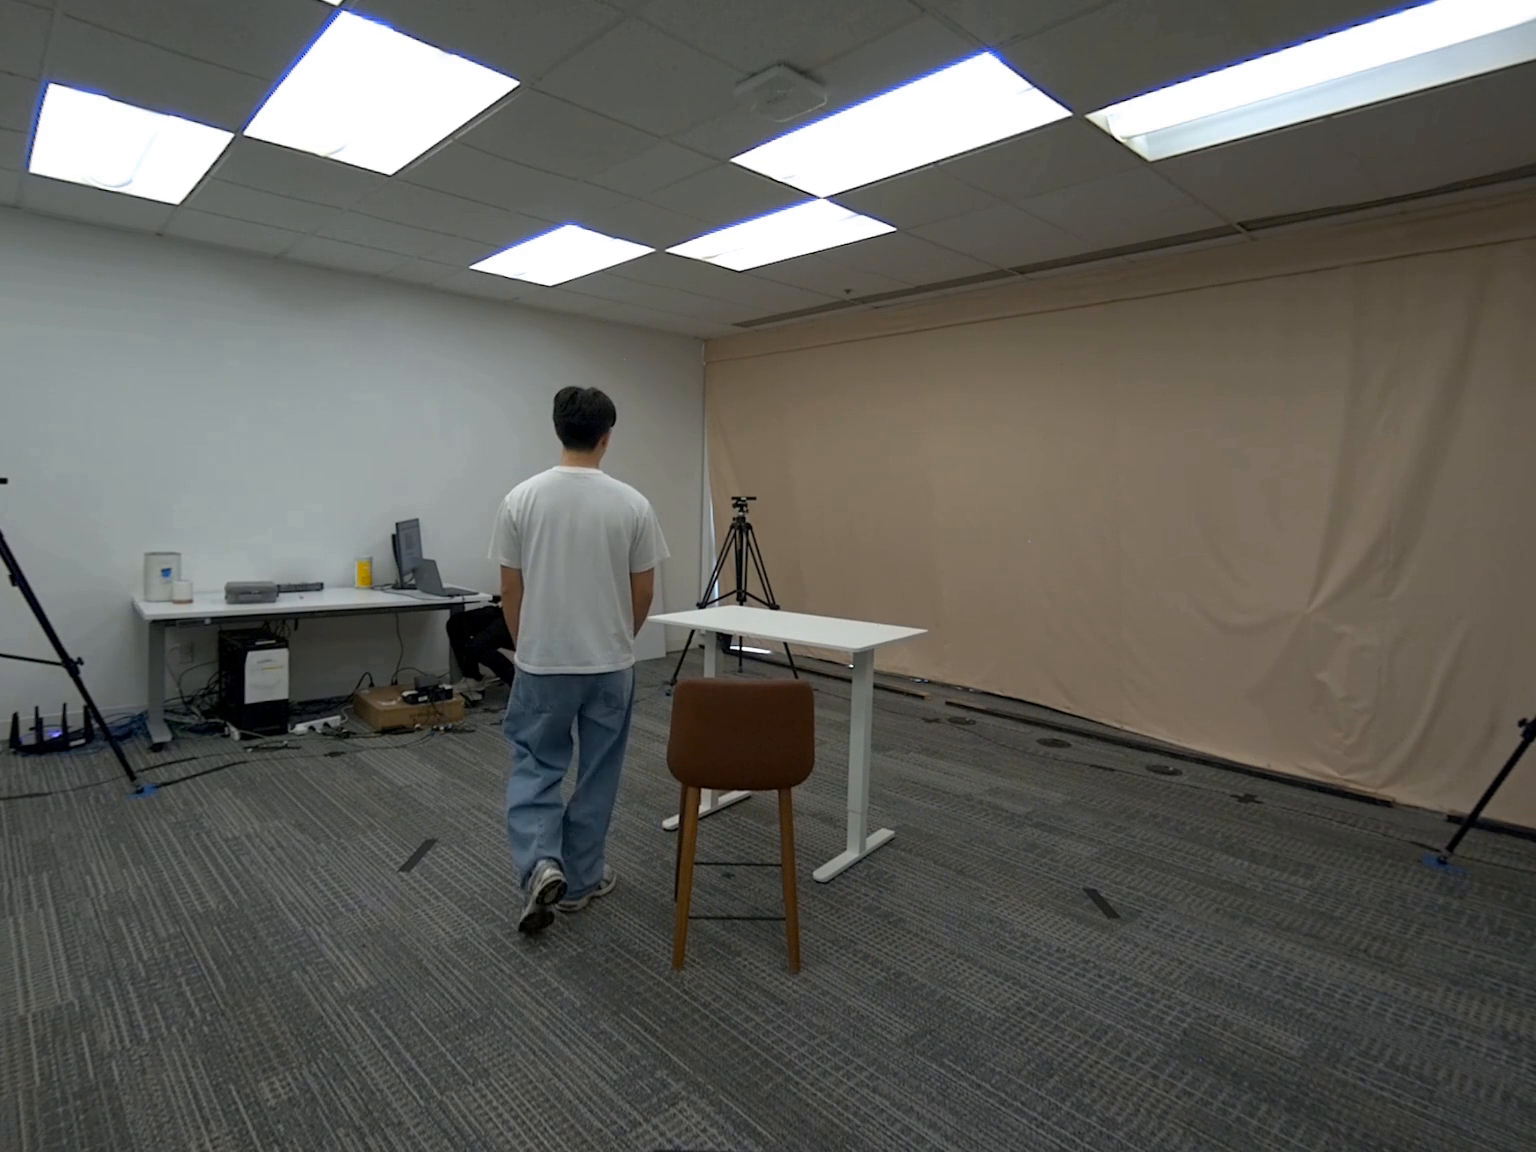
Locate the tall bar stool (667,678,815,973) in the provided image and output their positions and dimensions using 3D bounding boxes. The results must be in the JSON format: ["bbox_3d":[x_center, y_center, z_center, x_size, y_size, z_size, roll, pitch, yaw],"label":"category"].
[{"bbox_3d":[-0.106,0.714,2.663,0.456,0.886,0.470,1,5,-3],"label":"tall bar stool"}]
